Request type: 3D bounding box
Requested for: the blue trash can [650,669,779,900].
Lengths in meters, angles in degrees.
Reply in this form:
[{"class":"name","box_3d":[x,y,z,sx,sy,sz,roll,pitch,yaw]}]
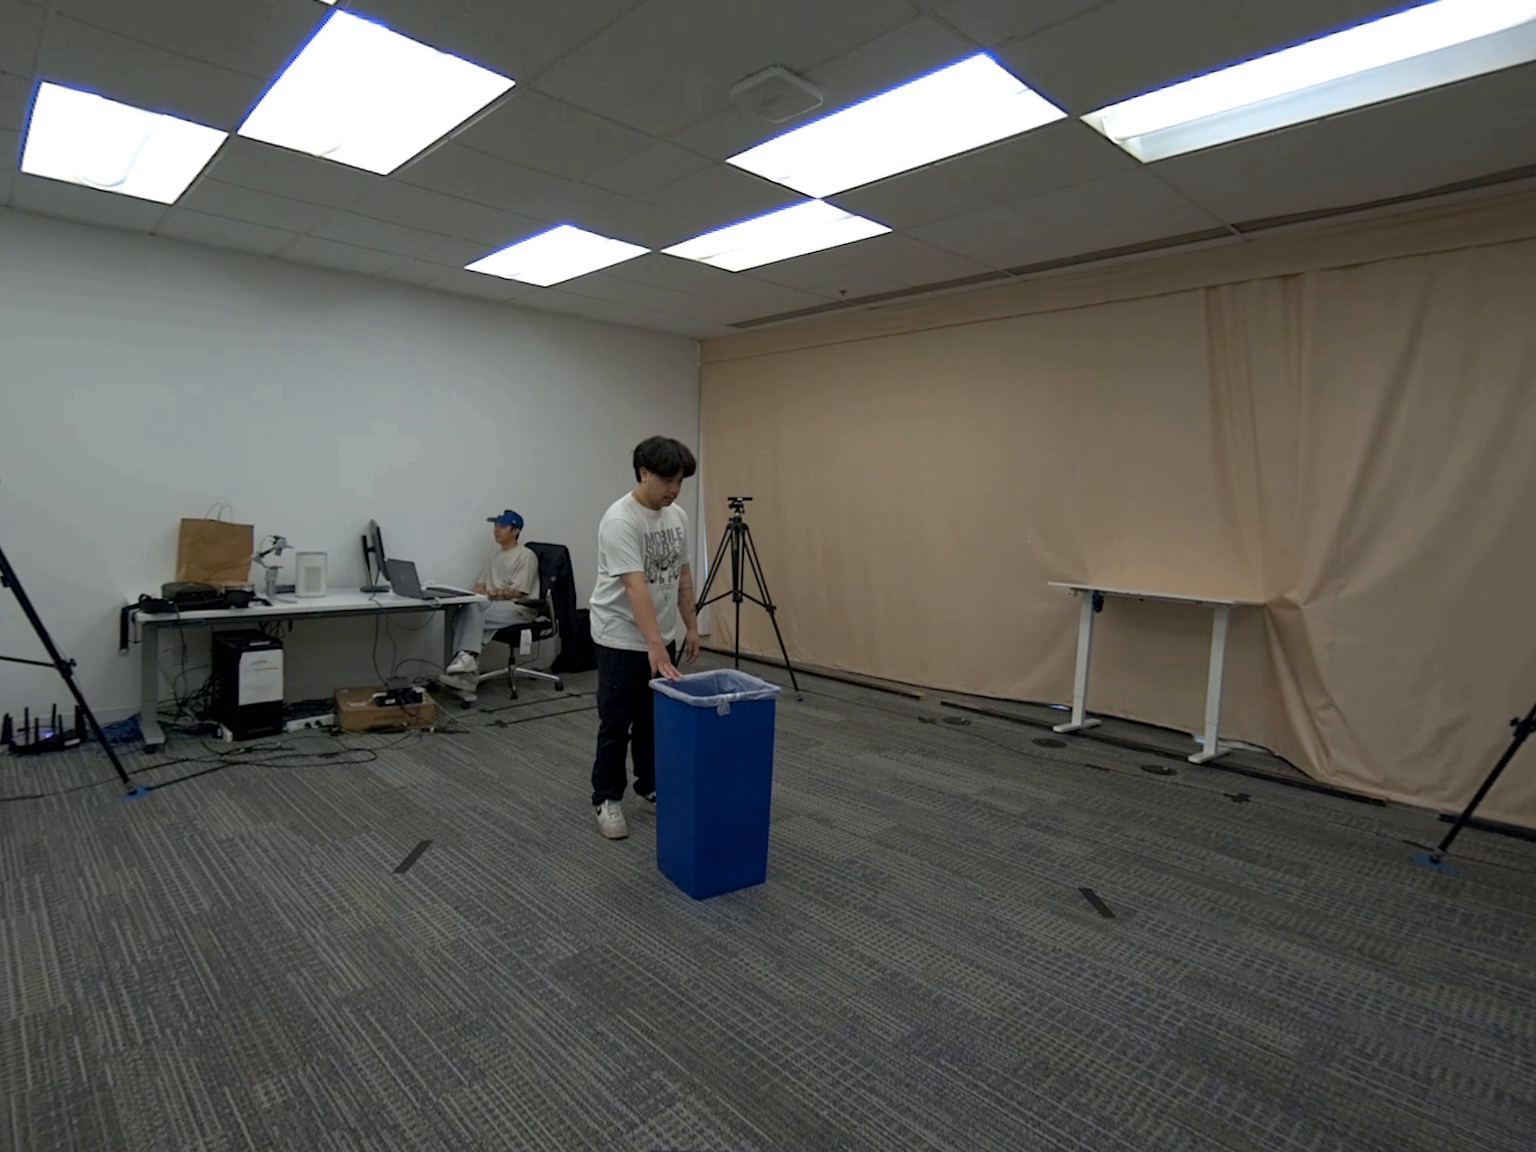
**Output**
[{"class":"blue trash can","box_3d":[-0.216,0.749,3.096,0.370,0.712,0.383,-1,4,-34]}]
